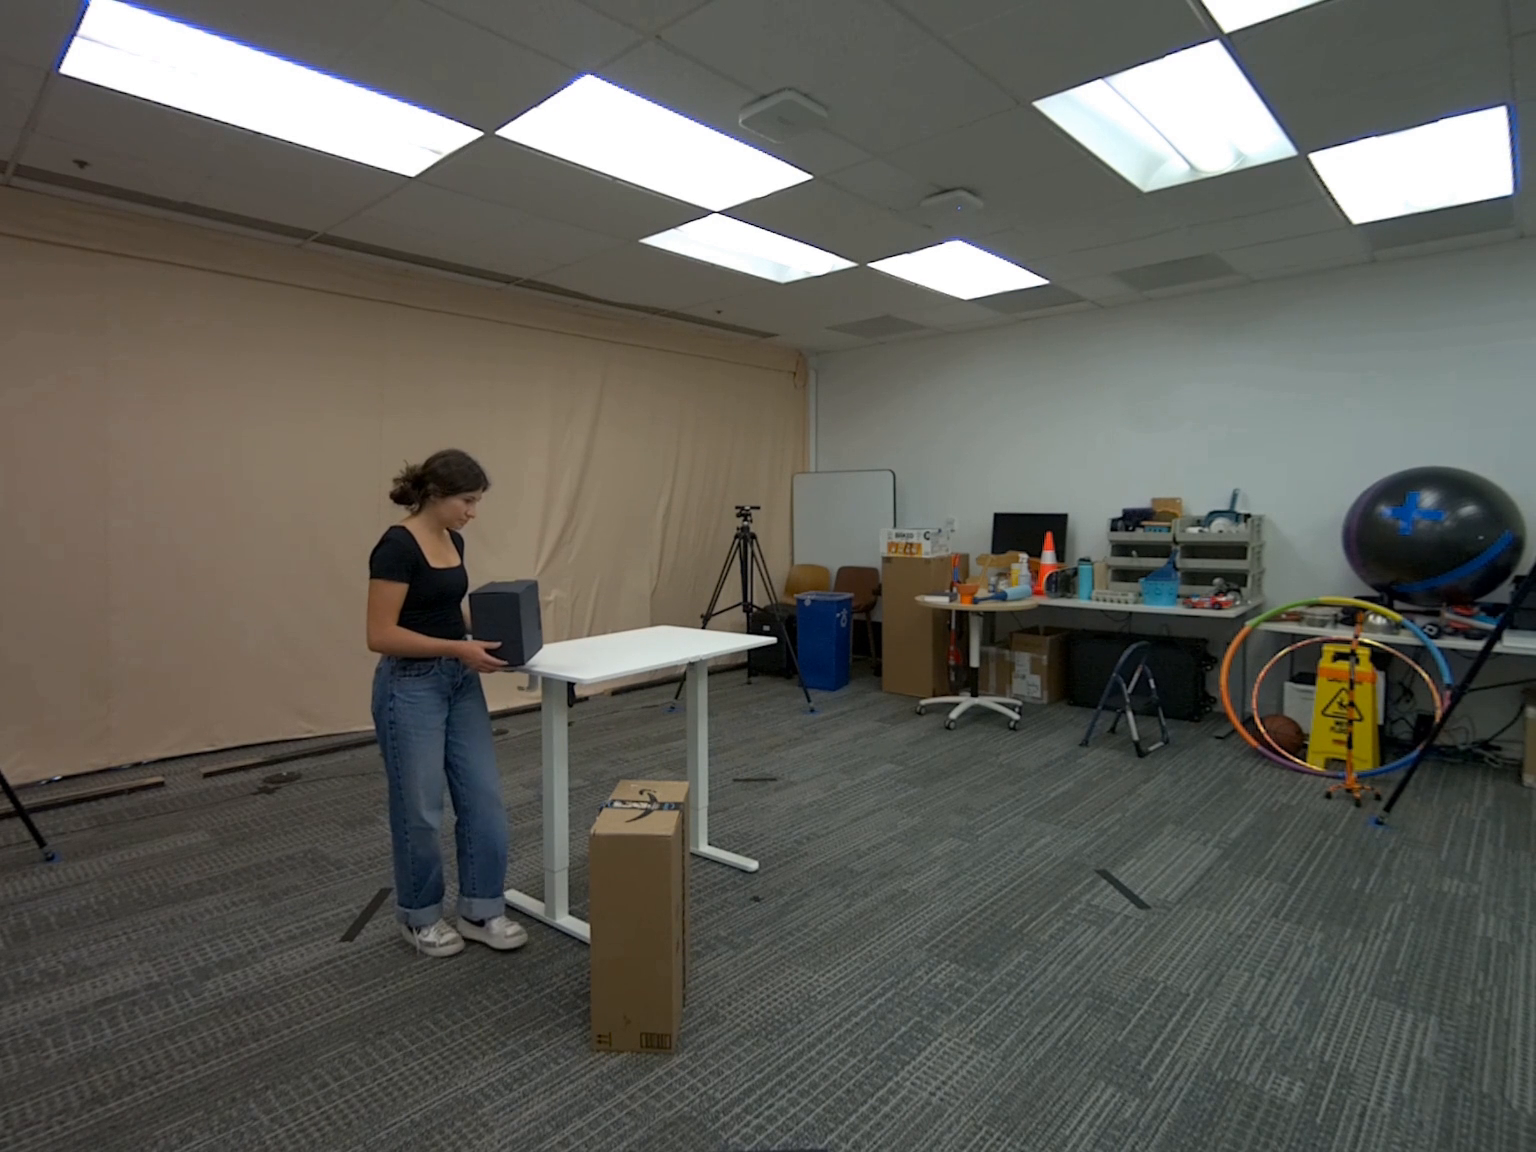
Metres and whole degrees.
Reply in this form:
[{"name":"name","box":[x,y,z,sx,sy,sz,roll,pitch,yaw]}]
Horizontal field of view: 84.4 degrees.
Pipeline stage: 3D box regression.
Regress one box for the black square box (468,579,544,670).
[{"name":"black square box","box":[-0.806,0.138,2.609,0.156,0.227,0.217,-1,5,1]}]
